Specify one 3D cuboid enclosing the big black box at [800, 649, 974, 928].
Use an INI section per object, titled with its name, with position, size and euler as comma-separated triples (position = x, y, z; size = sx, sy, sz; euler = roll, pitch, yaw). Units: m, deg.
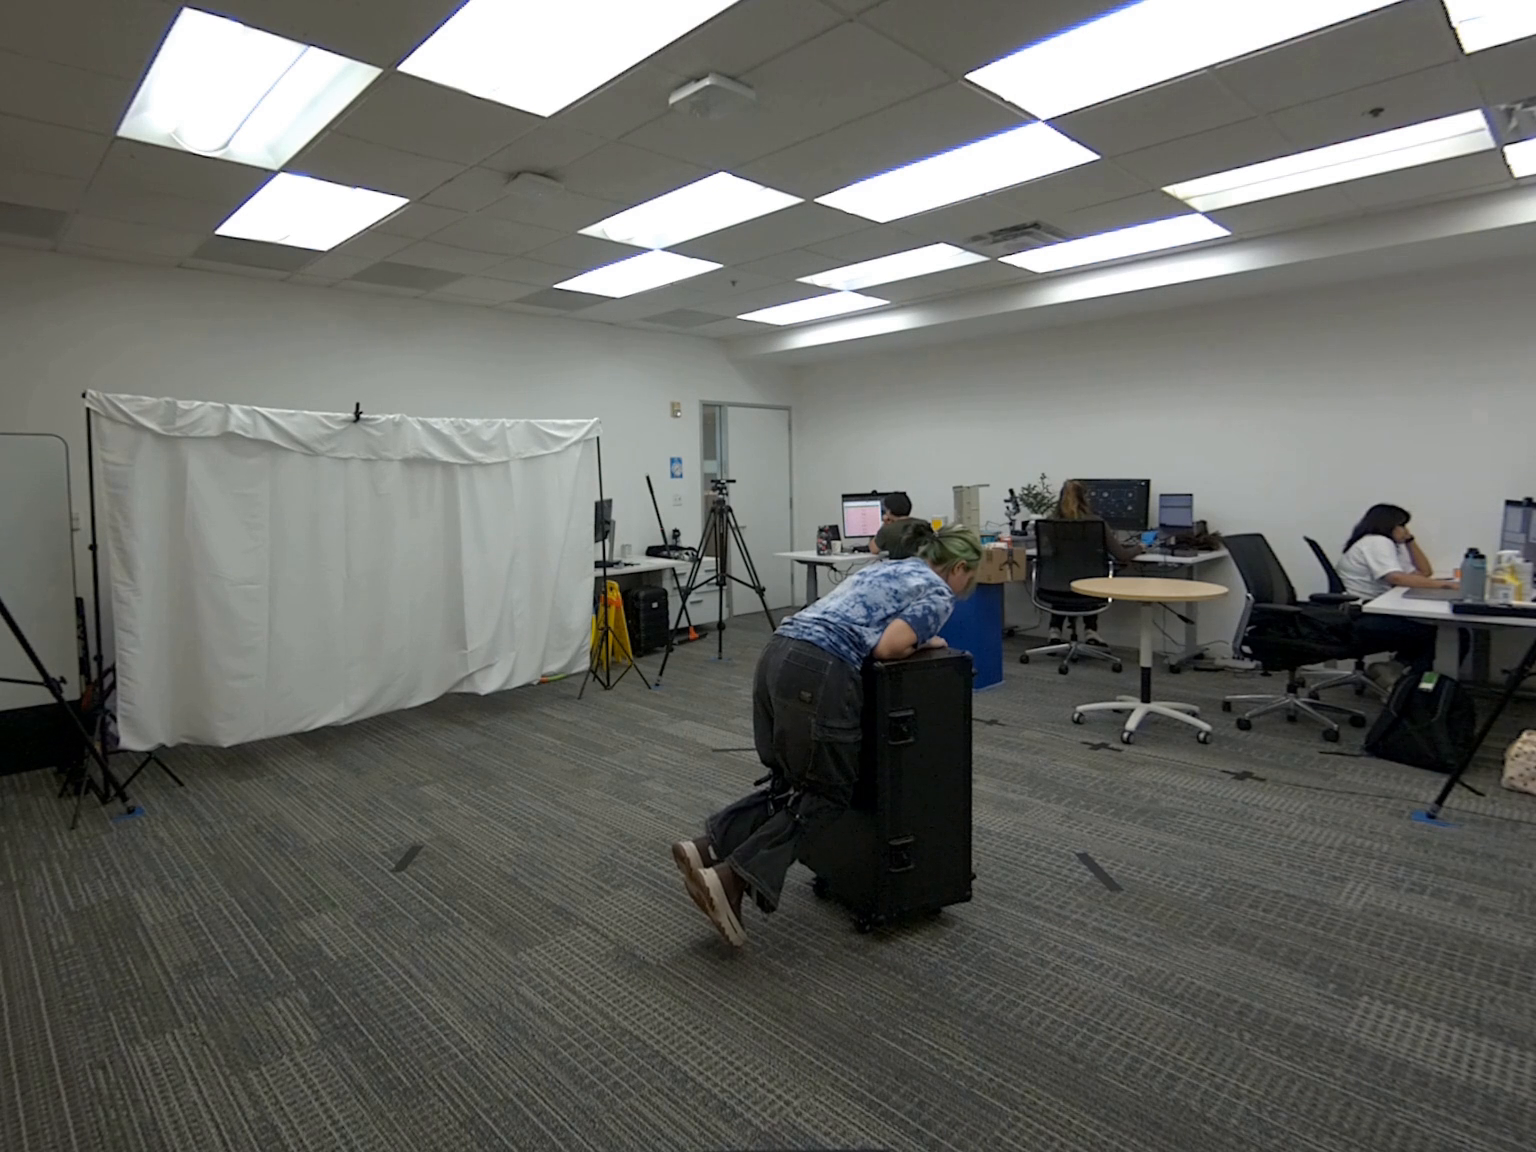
[big black box]
position = 0.386, 0.601, 2.797
size = 0.388, 0.858, 0.535
euler = -2, 5, -26
